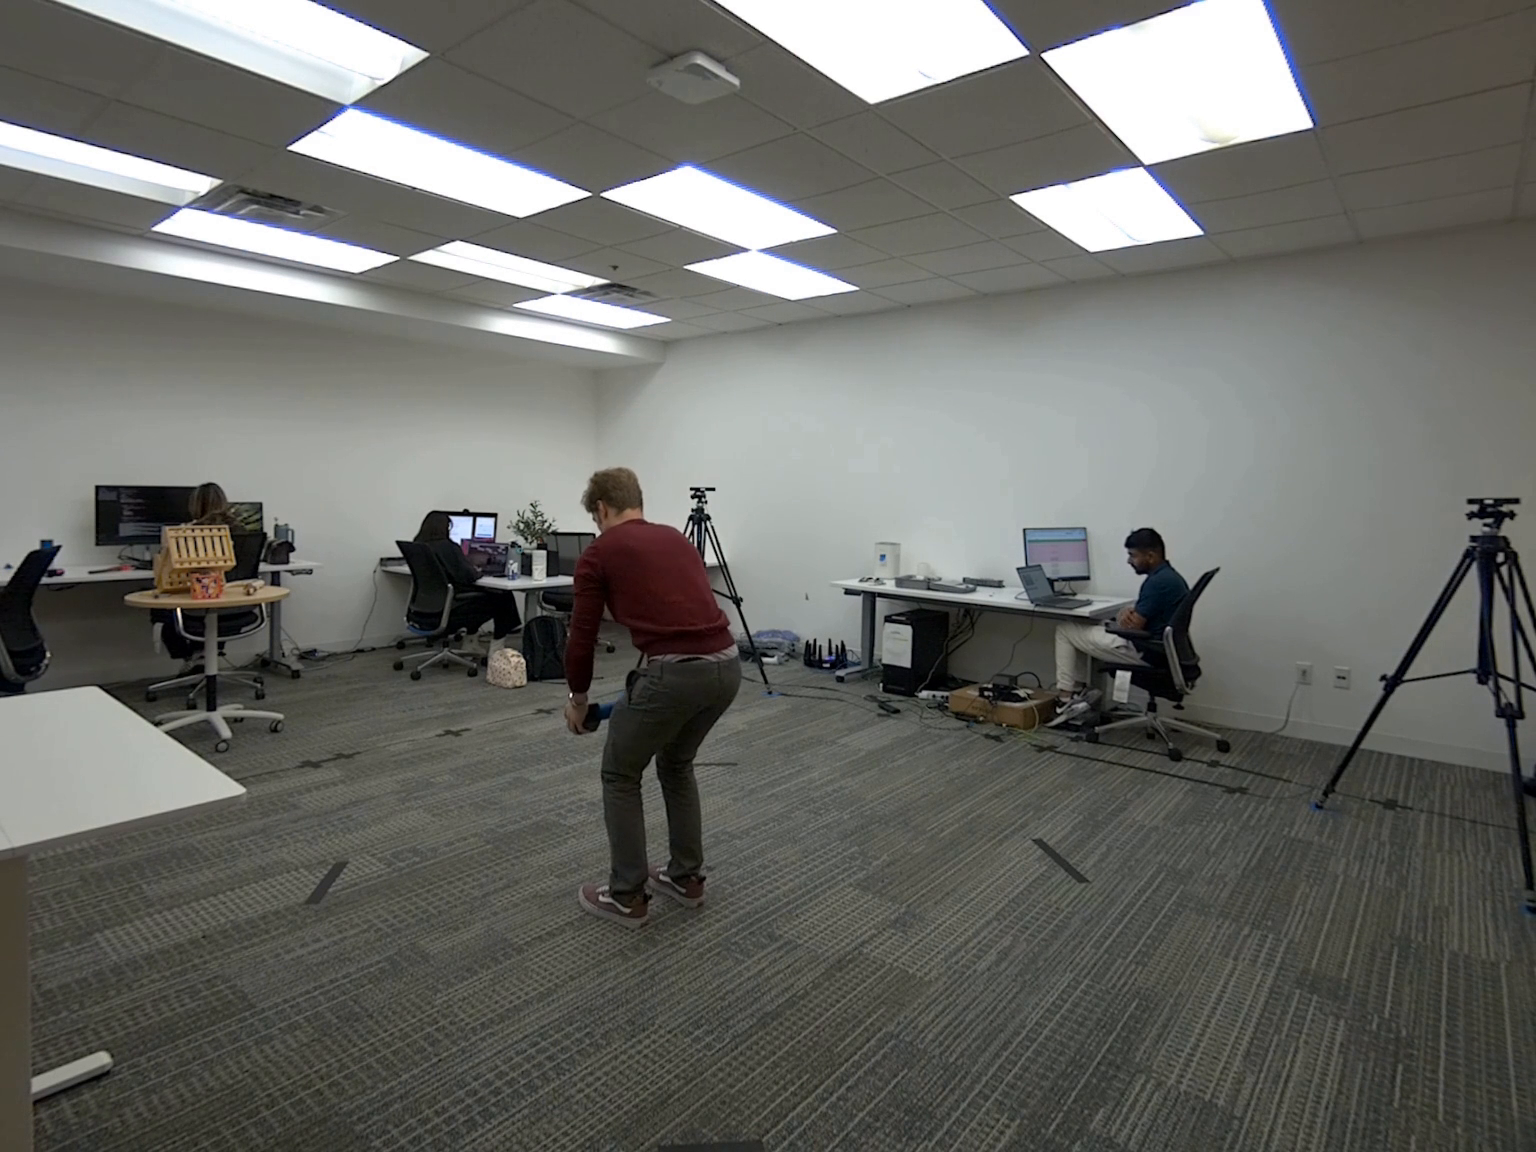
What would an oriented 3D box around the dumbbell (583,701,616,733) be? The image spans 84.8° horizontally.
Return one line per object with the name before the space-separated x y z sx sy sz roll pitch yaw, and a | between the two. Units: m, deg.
dumbbell | -0.559 0.467 2.993 0.285 0.121 0.113 -5 46 -37
